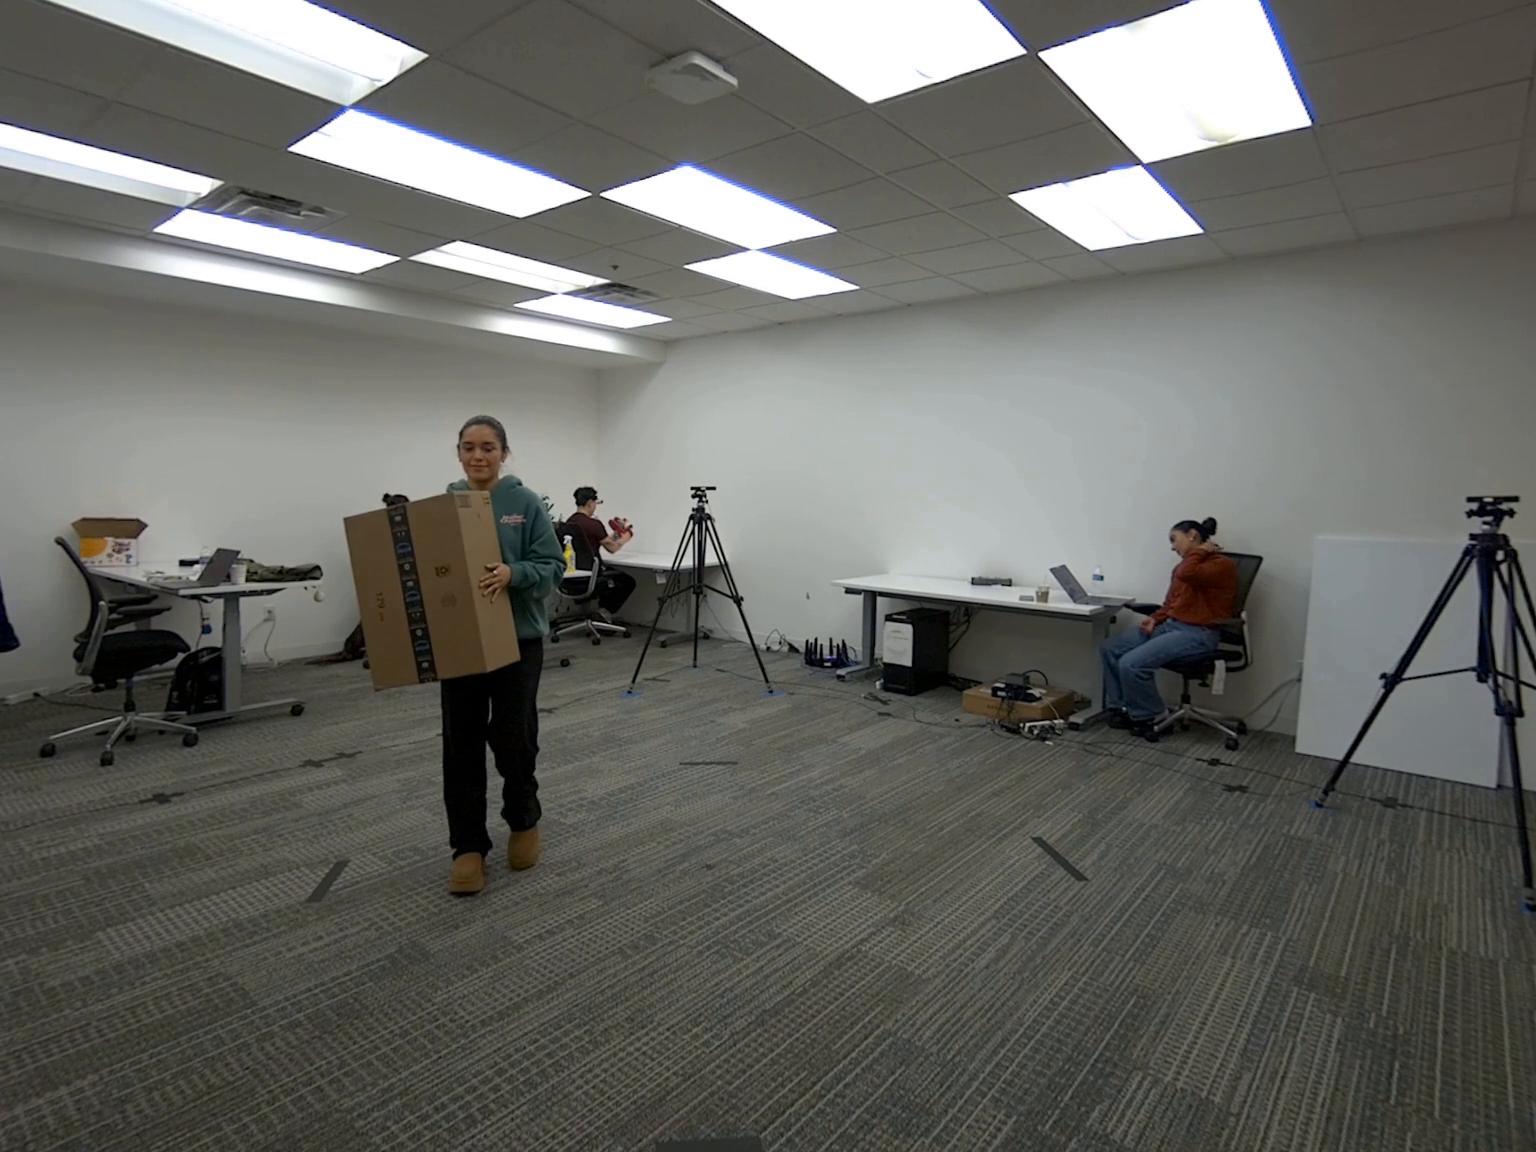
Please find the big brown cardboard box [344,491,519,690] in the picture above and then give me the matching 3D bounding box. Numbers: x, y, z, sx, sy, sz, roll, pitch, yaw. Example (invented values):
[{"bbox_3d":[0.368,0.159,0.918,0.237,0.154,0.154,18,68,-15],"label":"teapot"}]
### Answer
[{"bbox_3d":[-1.091,0.047,2.758,0.423,0.588,0.230,-9,1,15],"label":"big brown cardboard box"}]
